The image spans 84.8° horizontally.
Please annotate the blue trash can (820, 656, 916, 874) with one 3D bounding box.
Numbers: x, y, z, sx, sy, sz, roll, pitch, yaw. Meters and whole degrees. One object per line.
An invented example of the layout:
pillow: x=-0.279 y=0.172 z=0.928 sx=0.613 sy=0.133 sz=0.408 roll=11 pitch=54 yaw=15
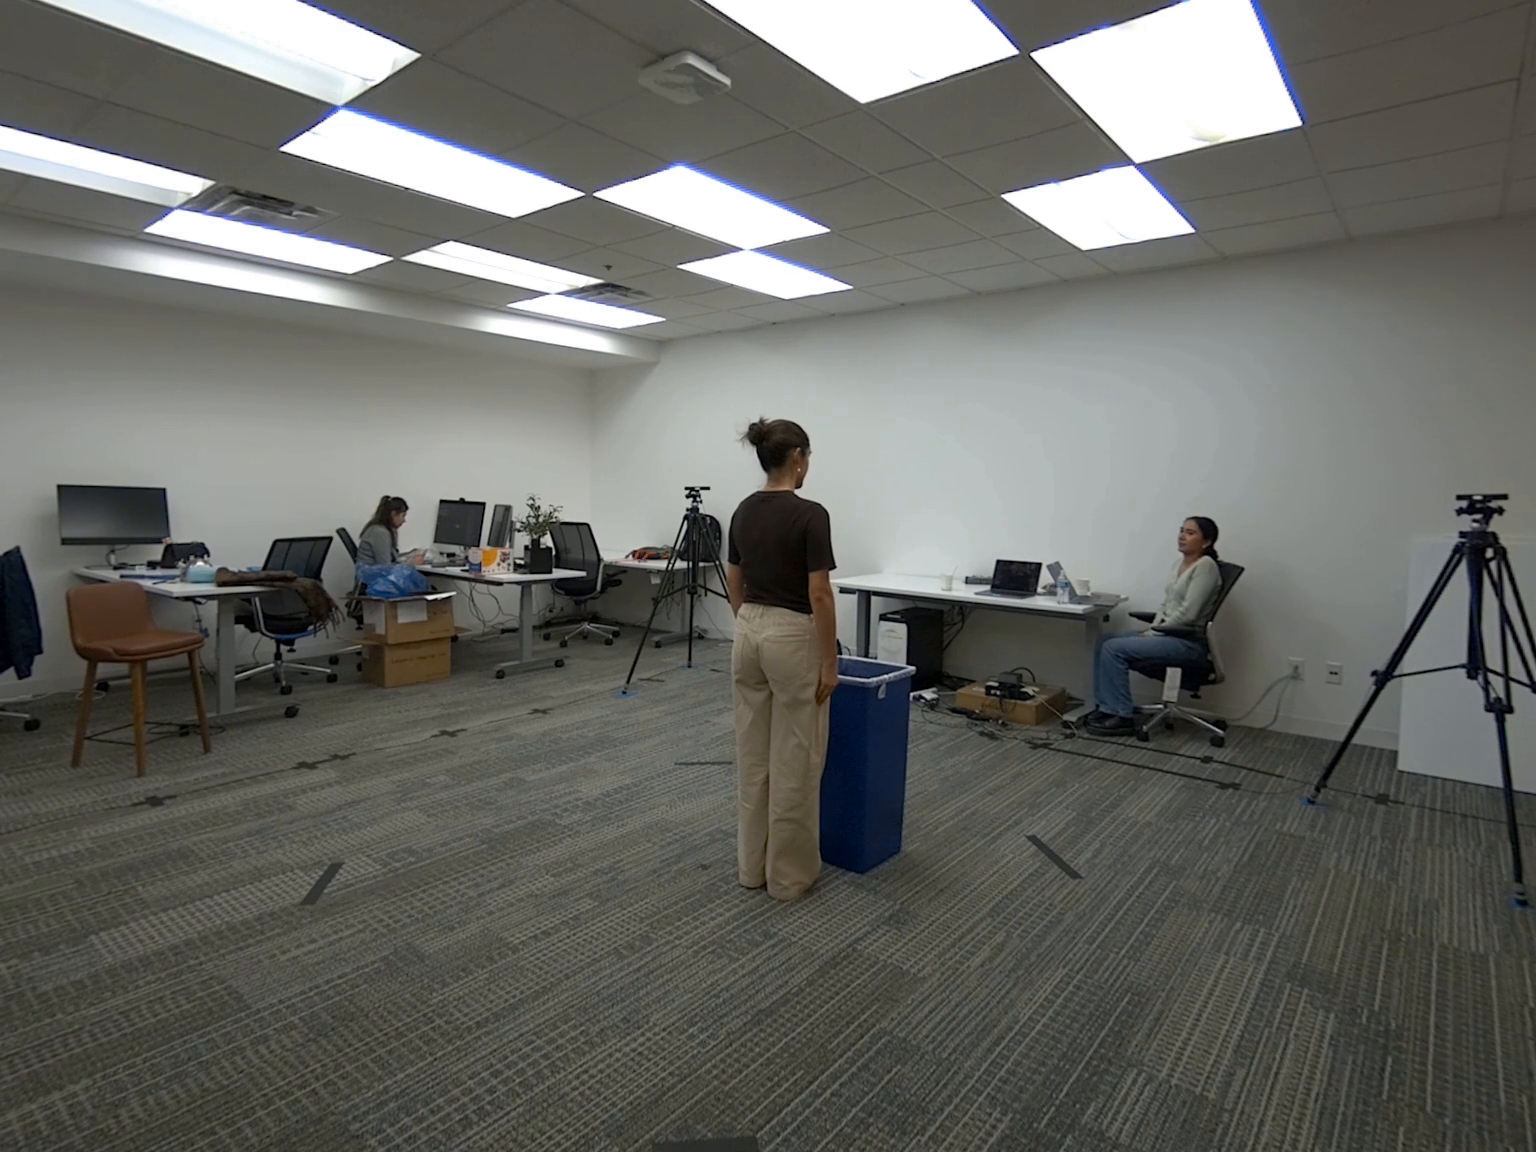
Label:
blue trash can: x=0.314 y=0.699 z=3.277 sx=0.390 sy=0.712 sz=0.363 roll=3 pitch=4 yaw=38
